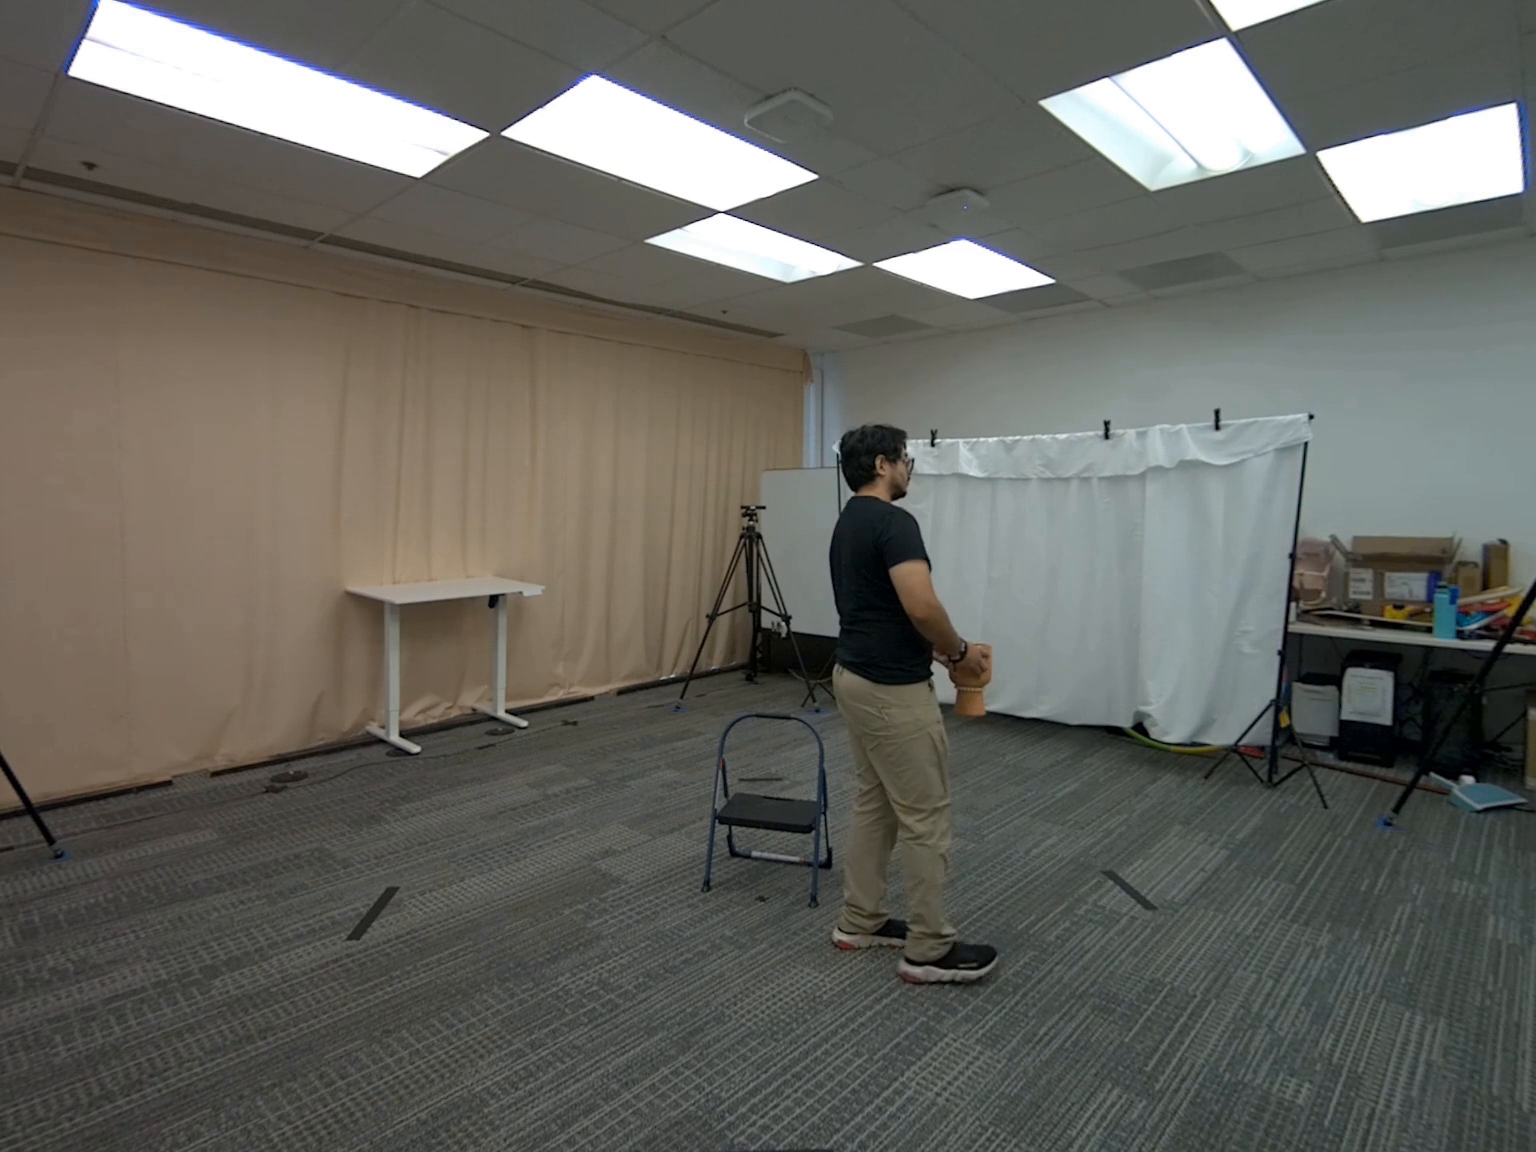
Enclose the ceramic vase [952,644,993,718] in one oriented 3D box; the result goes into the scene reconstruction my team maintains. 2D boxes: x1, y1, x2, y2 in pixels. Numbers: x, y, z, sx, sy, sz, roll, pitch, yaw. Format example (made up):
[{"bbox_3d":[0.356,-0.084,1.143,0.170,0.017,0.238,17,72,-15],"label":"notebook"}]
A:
[{"bbox_3d":[0.651,0.332,2.673,0.138,0.220,0.155,0,0,23],"label":"ceramic vase"}]
